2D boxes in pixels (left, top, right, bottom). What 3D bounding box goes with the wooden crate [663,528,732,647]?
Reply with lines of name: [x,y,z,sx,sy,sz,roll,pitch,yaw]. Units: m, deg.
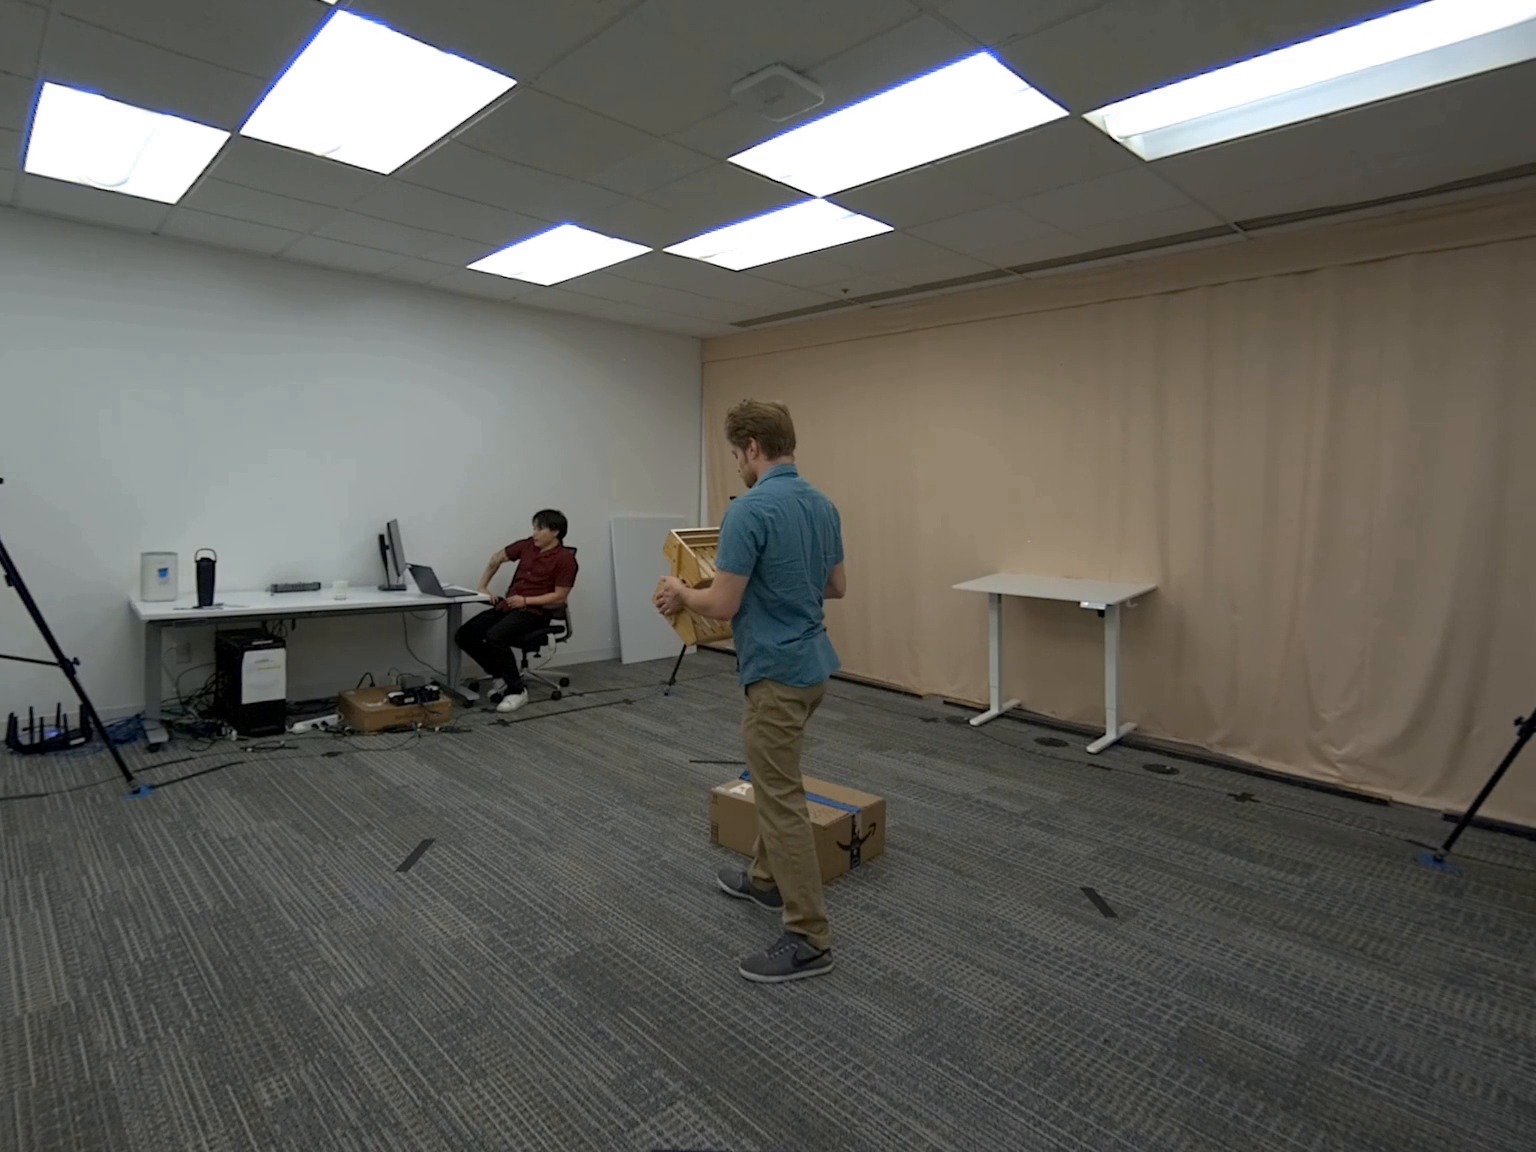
wooden crate: [-0.175,0.030,2.806,0.317,0.271,0.311,-5,40,-44]
